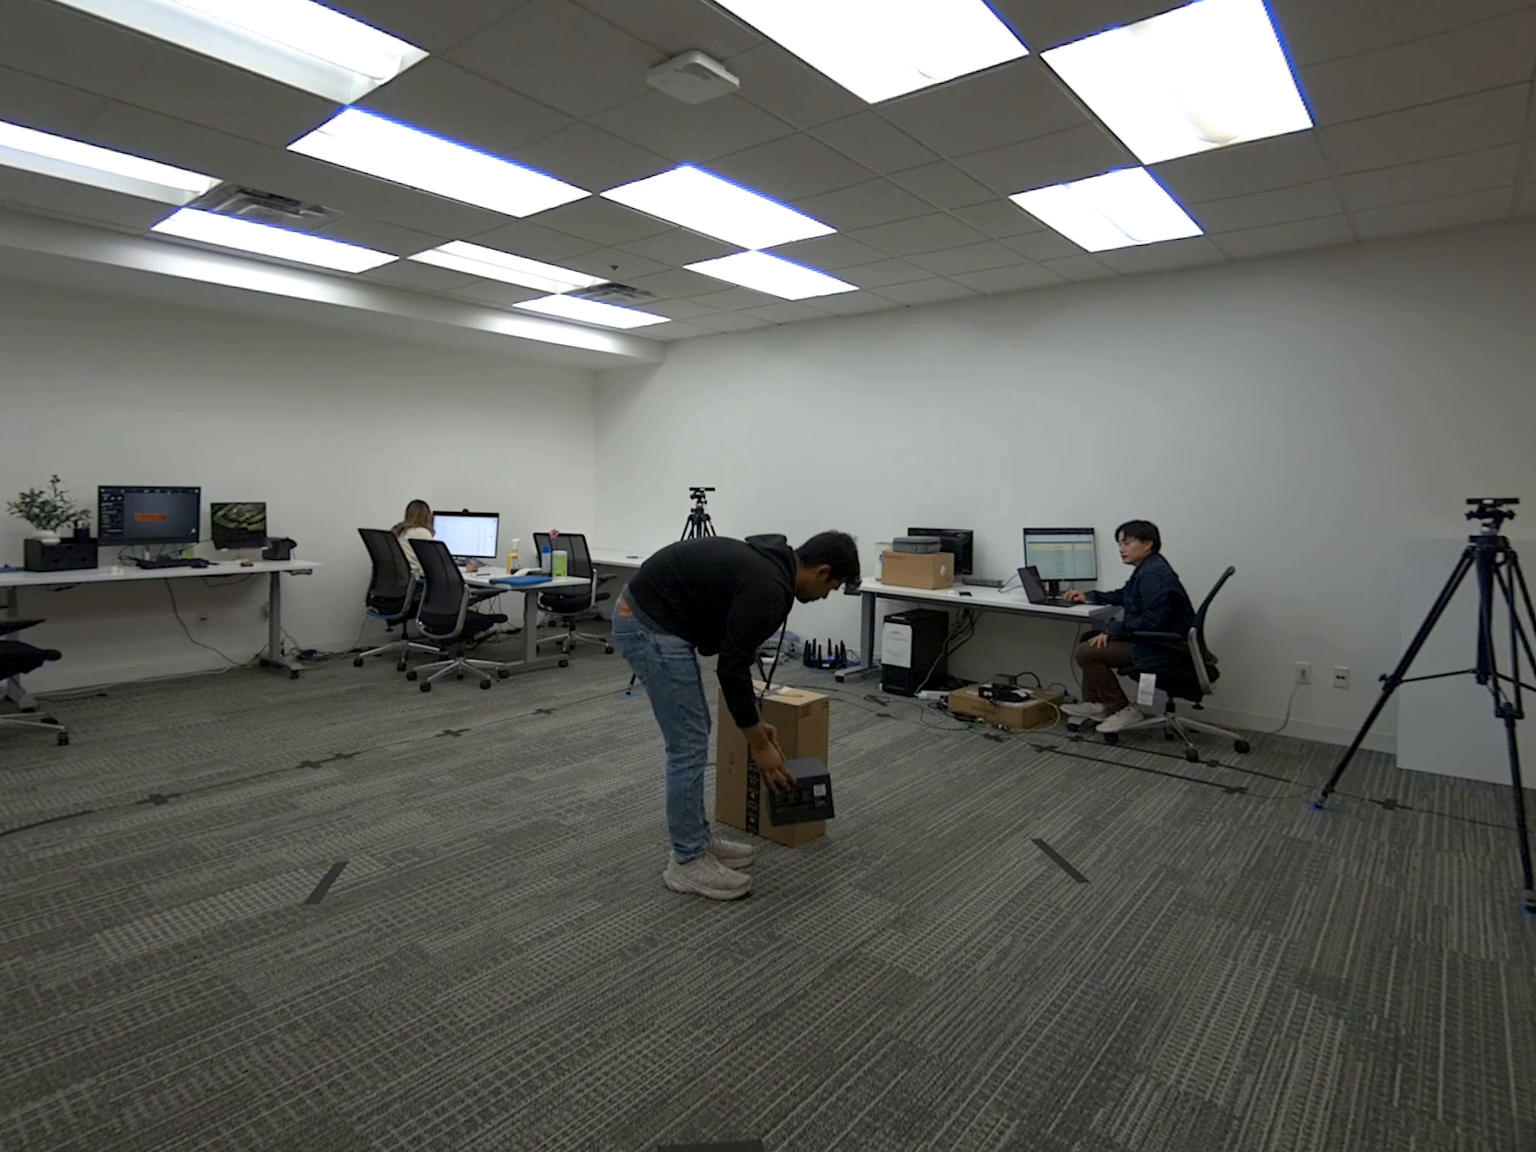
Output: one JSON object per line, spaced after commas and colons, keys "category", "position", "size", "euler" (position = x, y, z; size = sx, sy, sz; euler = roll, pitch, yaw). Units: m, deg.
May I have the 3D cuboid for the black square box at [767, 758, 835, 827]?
{"category": "black square box", "position": [0.093, 0.751, 2.979], "size": [0.216, 0.156, 0.229], "euler": [-7, 3, -4]}
